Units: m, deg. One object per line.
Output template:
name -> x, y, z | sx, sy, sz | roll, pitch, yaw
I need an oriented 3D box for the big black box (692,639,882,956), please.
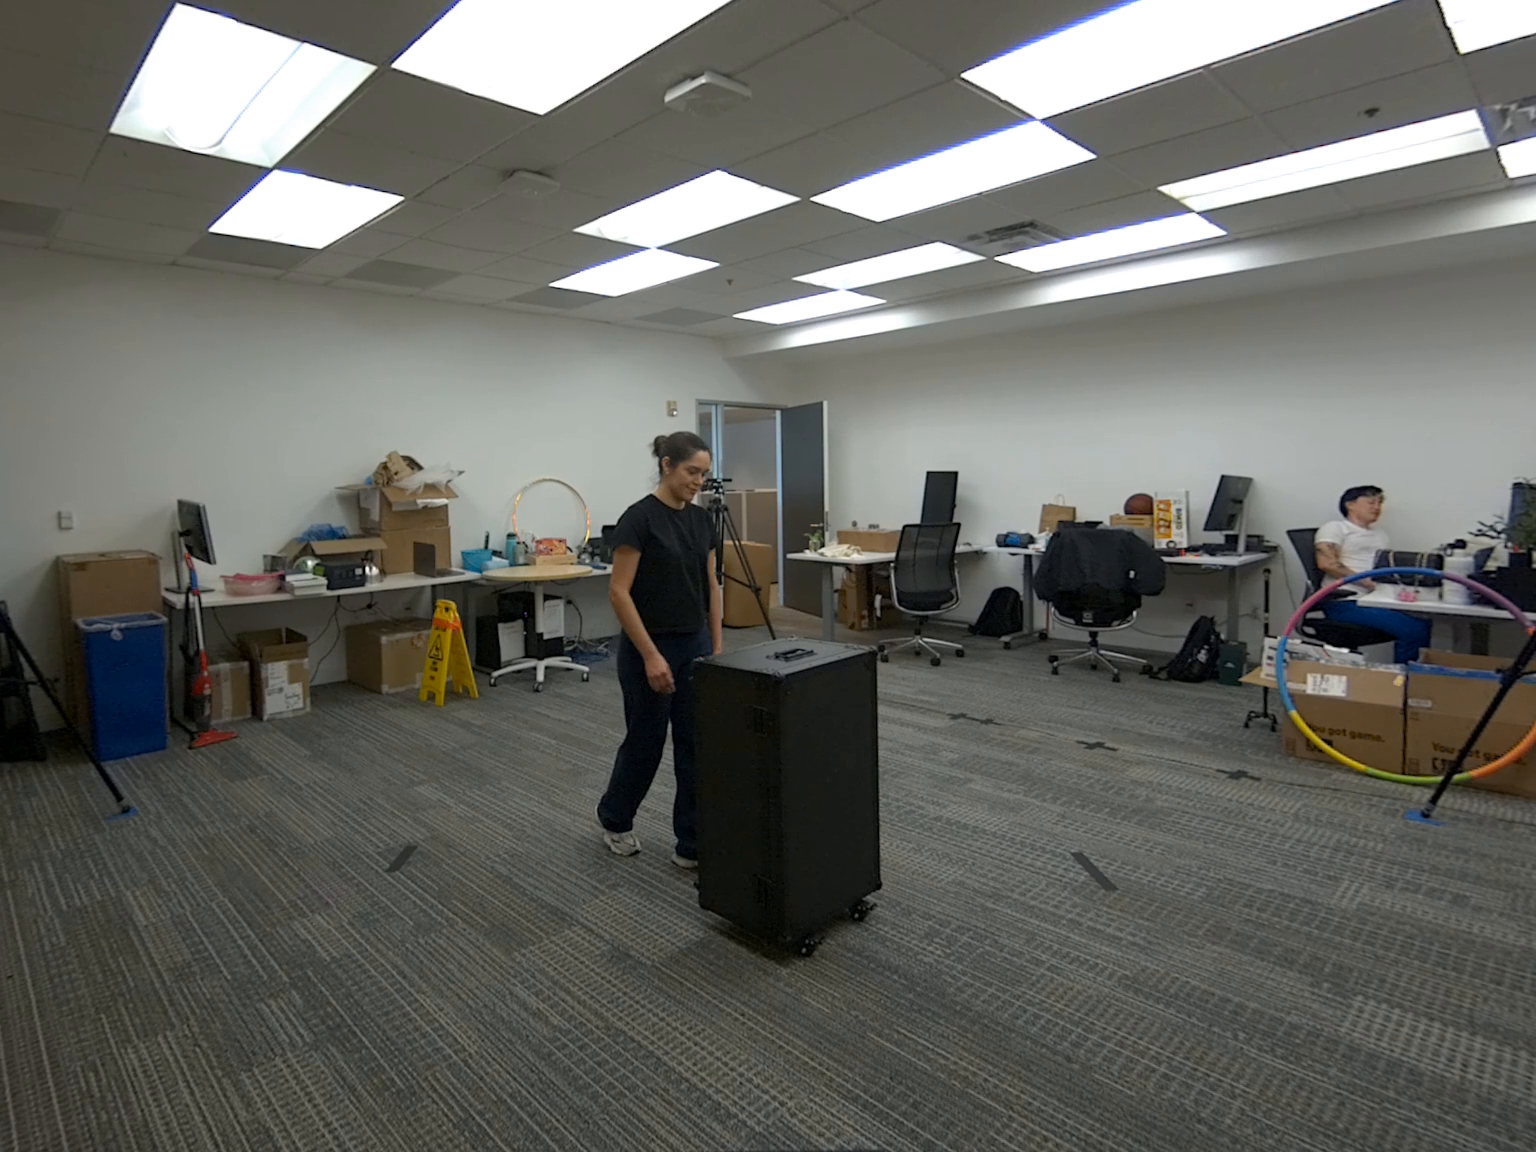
big black box -> 0.059, 0.667, 2.697 | 0.408, 0.859, 0.507 | 1, 5, 42
